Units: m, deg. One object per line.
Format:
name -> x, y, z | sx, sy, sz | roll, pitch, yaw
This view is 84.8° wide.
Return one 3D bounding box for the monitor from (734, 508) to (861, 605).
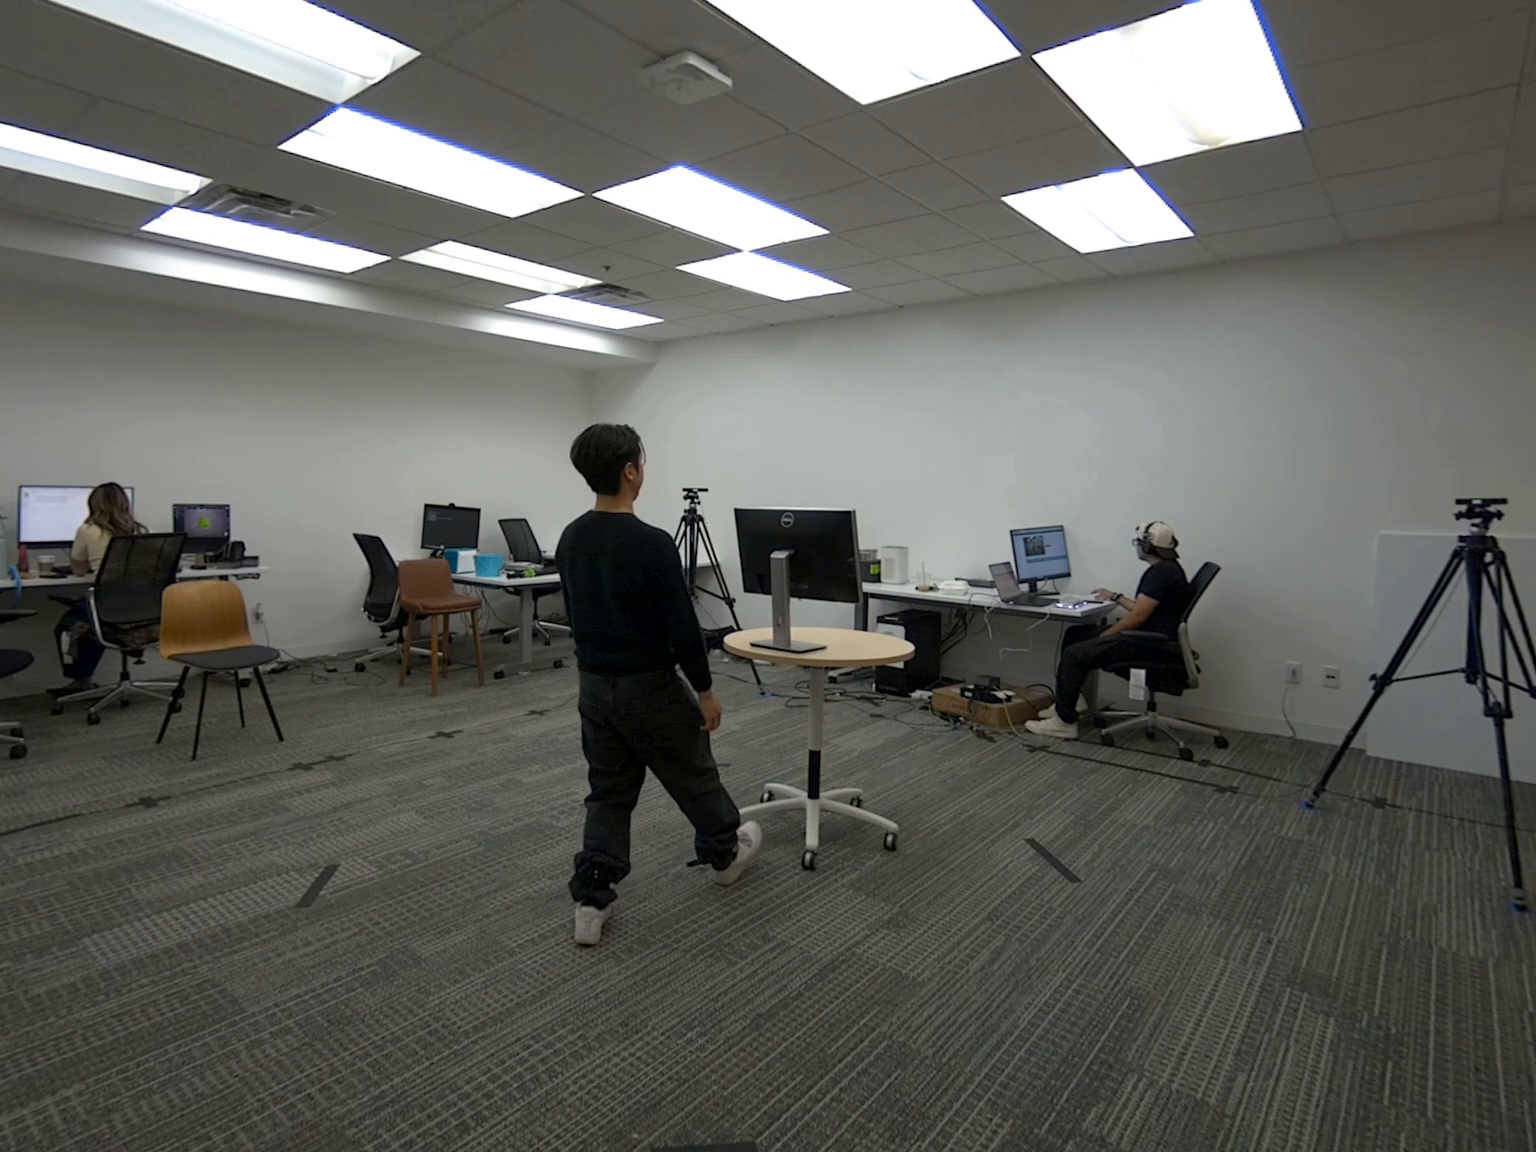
monitor -> 0.073, 0.007, 3.303 | 0.557, 0.522, 0.181 | 4, 3, 36
